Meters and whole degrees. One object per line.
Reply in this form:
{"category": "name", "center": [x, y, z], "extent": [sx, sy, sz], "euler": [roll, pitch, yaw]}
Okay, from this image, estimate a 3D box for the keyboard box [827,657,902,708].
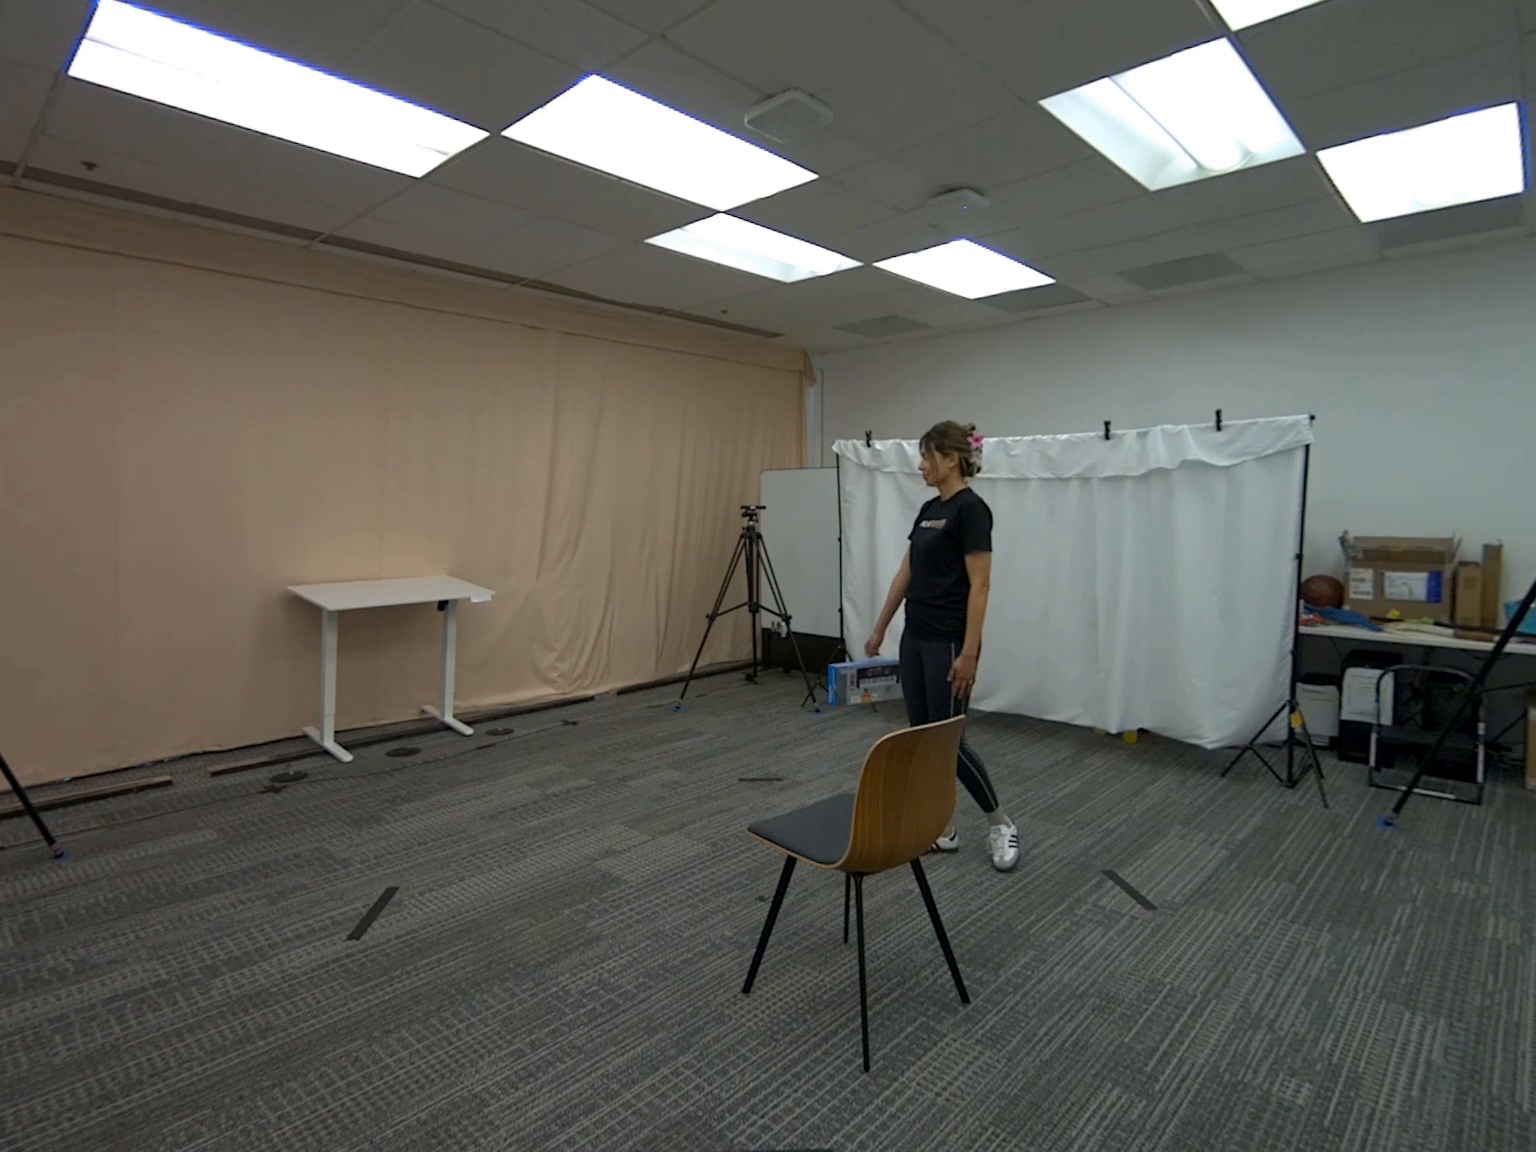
{"category": "keyboard box", "center": [0.463, 0.452, 3.639], "extent": [0.426, 0.175, 0.061], "euler": [-3, 7, -25]}
